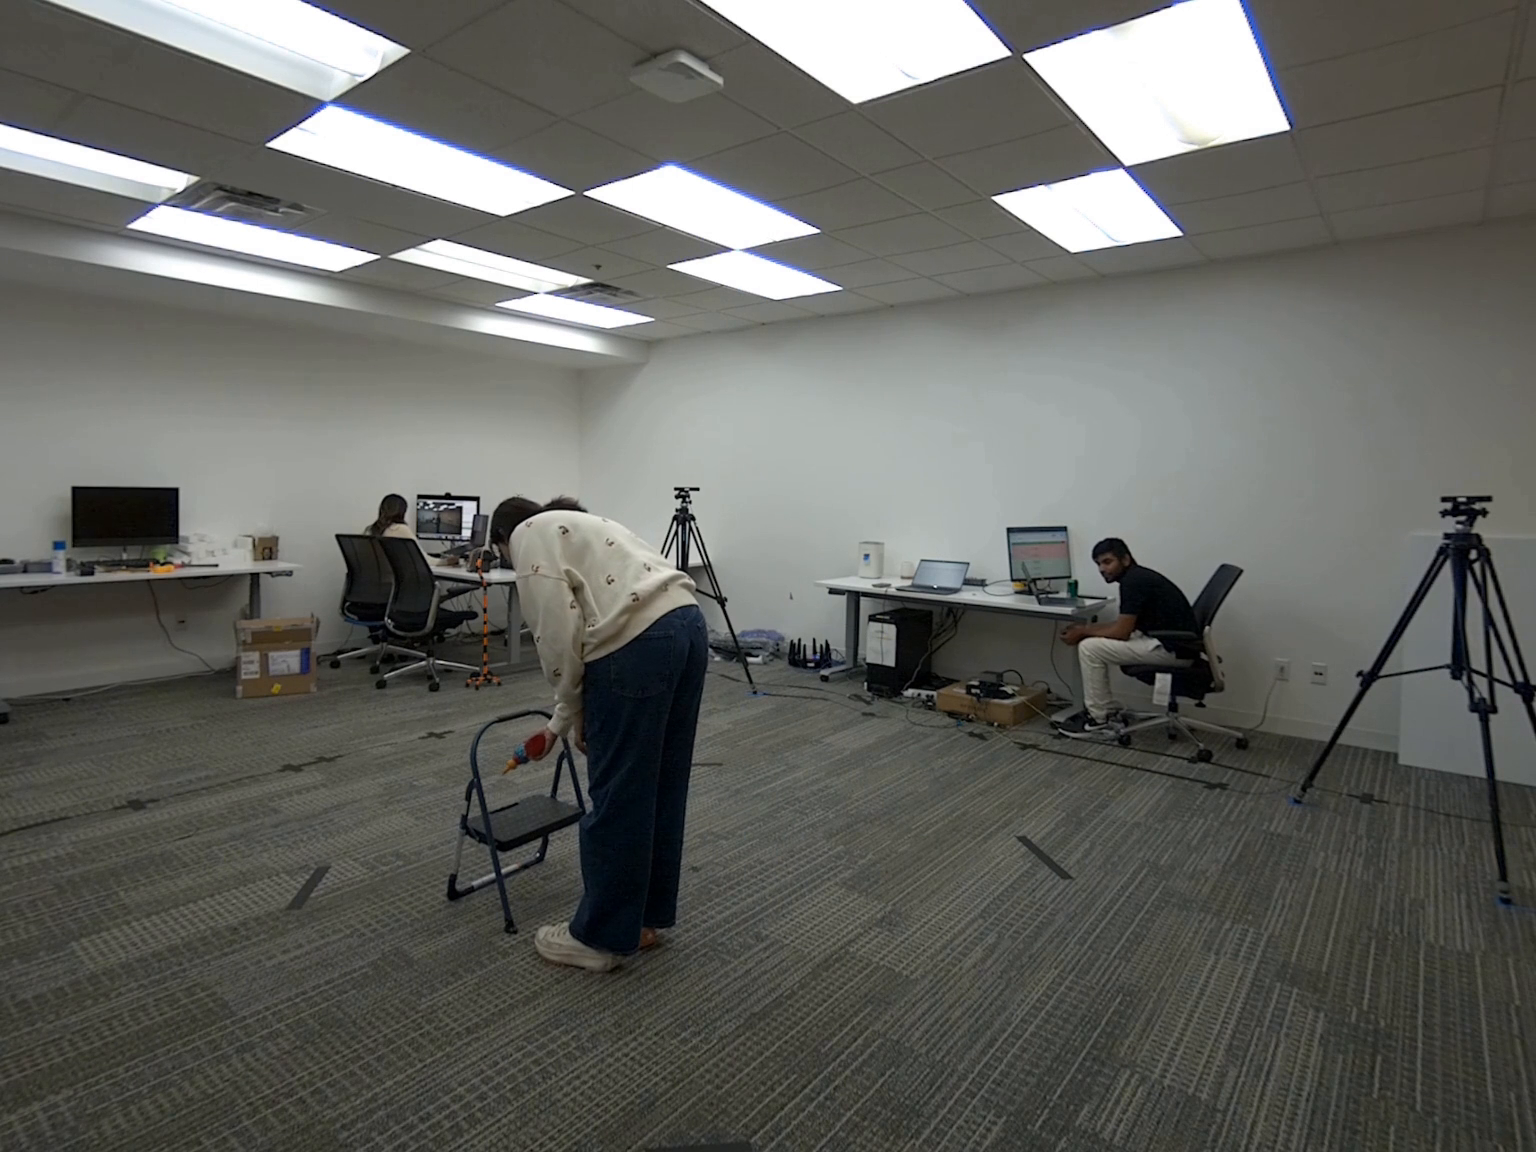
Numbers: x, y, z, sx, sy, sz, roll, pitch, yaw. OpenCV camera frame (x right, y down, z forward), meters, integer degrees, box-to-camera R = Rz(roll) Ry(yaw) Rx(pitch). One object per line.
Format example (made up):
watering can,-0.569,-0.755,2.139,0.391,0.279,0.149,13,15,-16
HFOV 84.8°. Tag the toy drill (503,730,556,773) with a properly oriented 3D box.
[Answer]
toy drill,-0.807,0.576,2.756,0.169,0.061,0.147,-41,4,-26
